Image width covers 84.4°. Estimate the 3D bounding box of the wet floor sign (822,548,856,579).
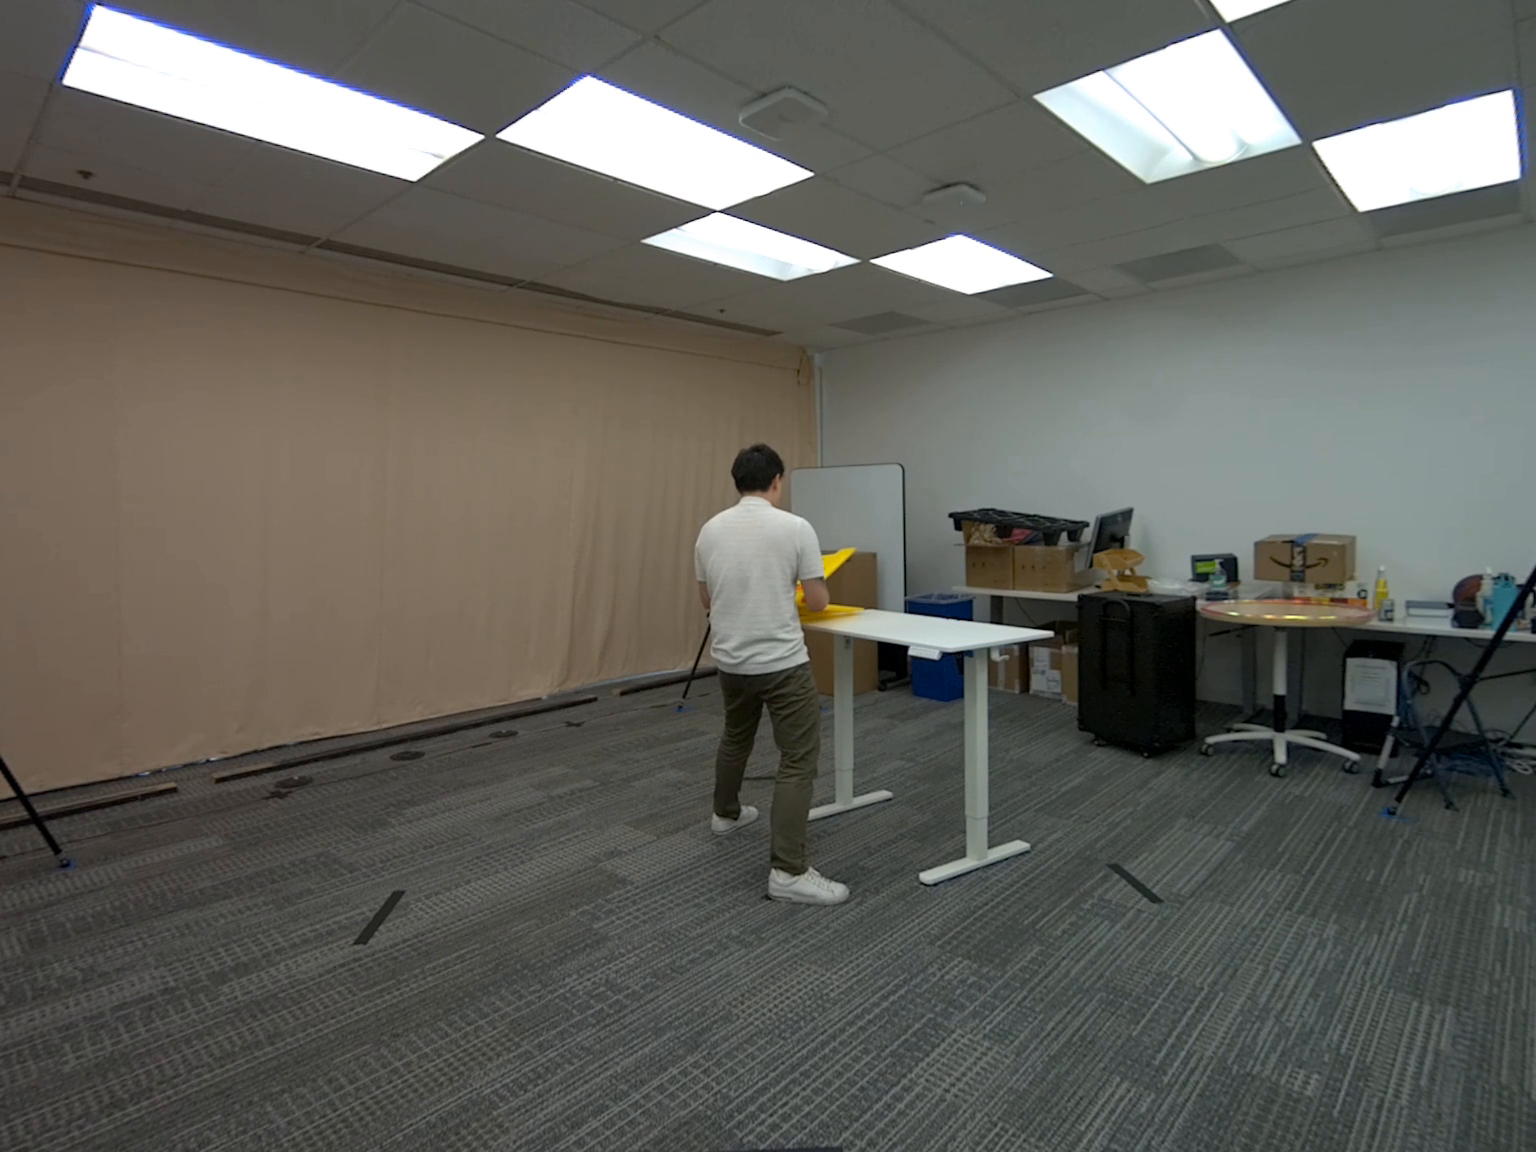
[{"bbox_3d":[0.169,0.069,3.679,0.289,0.289,0.632,-5,5,27],"label":"wet floor sign"}]
